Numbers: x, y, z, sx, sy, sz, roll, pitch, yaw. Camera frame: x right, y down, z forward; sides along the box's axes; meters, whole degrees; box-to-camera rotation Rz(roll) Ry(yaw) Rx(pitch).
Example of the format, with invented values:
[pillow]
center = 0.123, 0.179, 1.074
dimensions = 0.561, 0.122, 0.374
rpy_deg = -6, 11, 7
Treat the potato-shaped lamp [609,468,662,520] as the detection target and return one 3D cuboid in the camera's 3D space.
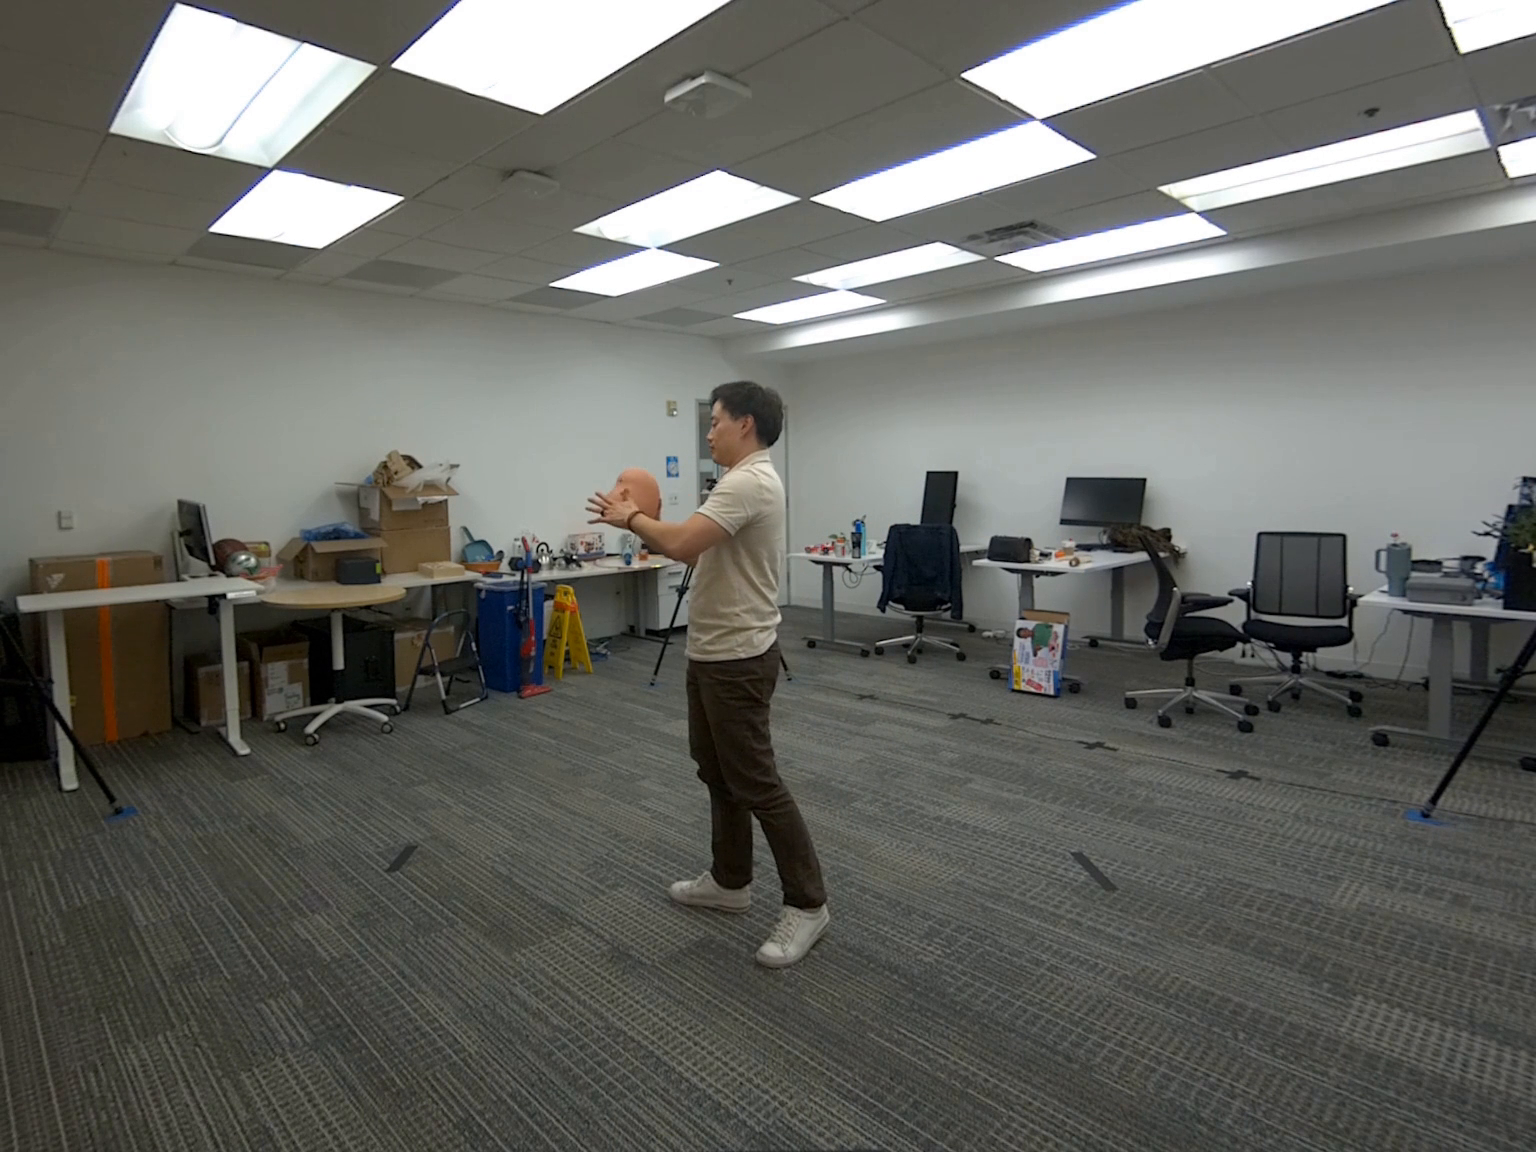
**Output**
[potato-shaped lamp]
center = -0.425, -0.245, 2.695
dimensions = 0.167, 0.199, 0.168
rpy_deg = 14, -5, -24
